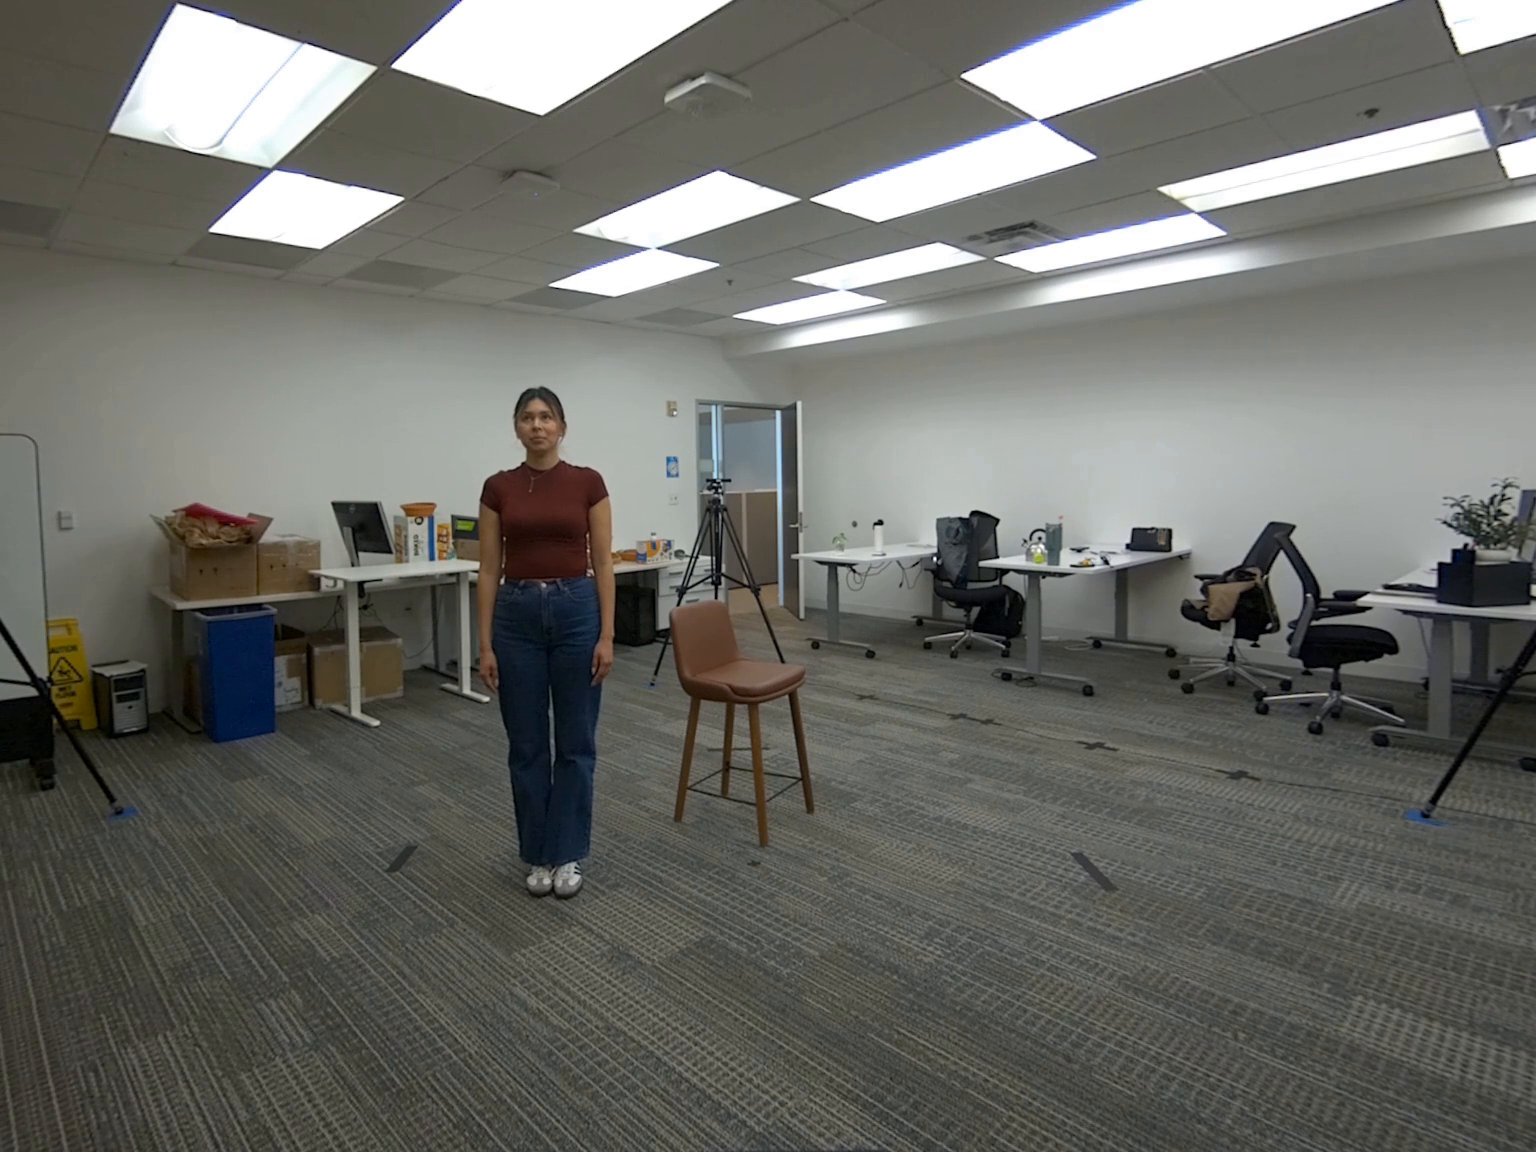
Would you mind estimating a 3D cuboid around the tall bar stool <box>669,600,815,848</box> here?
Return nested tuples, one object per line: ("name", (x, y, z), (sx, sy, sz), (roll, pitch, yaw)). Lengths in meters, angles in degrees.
("tall bar stool", (-0.112, 0.564, 3.514), (0.480, 0.888, 0.445), (-1, 3, 33))
